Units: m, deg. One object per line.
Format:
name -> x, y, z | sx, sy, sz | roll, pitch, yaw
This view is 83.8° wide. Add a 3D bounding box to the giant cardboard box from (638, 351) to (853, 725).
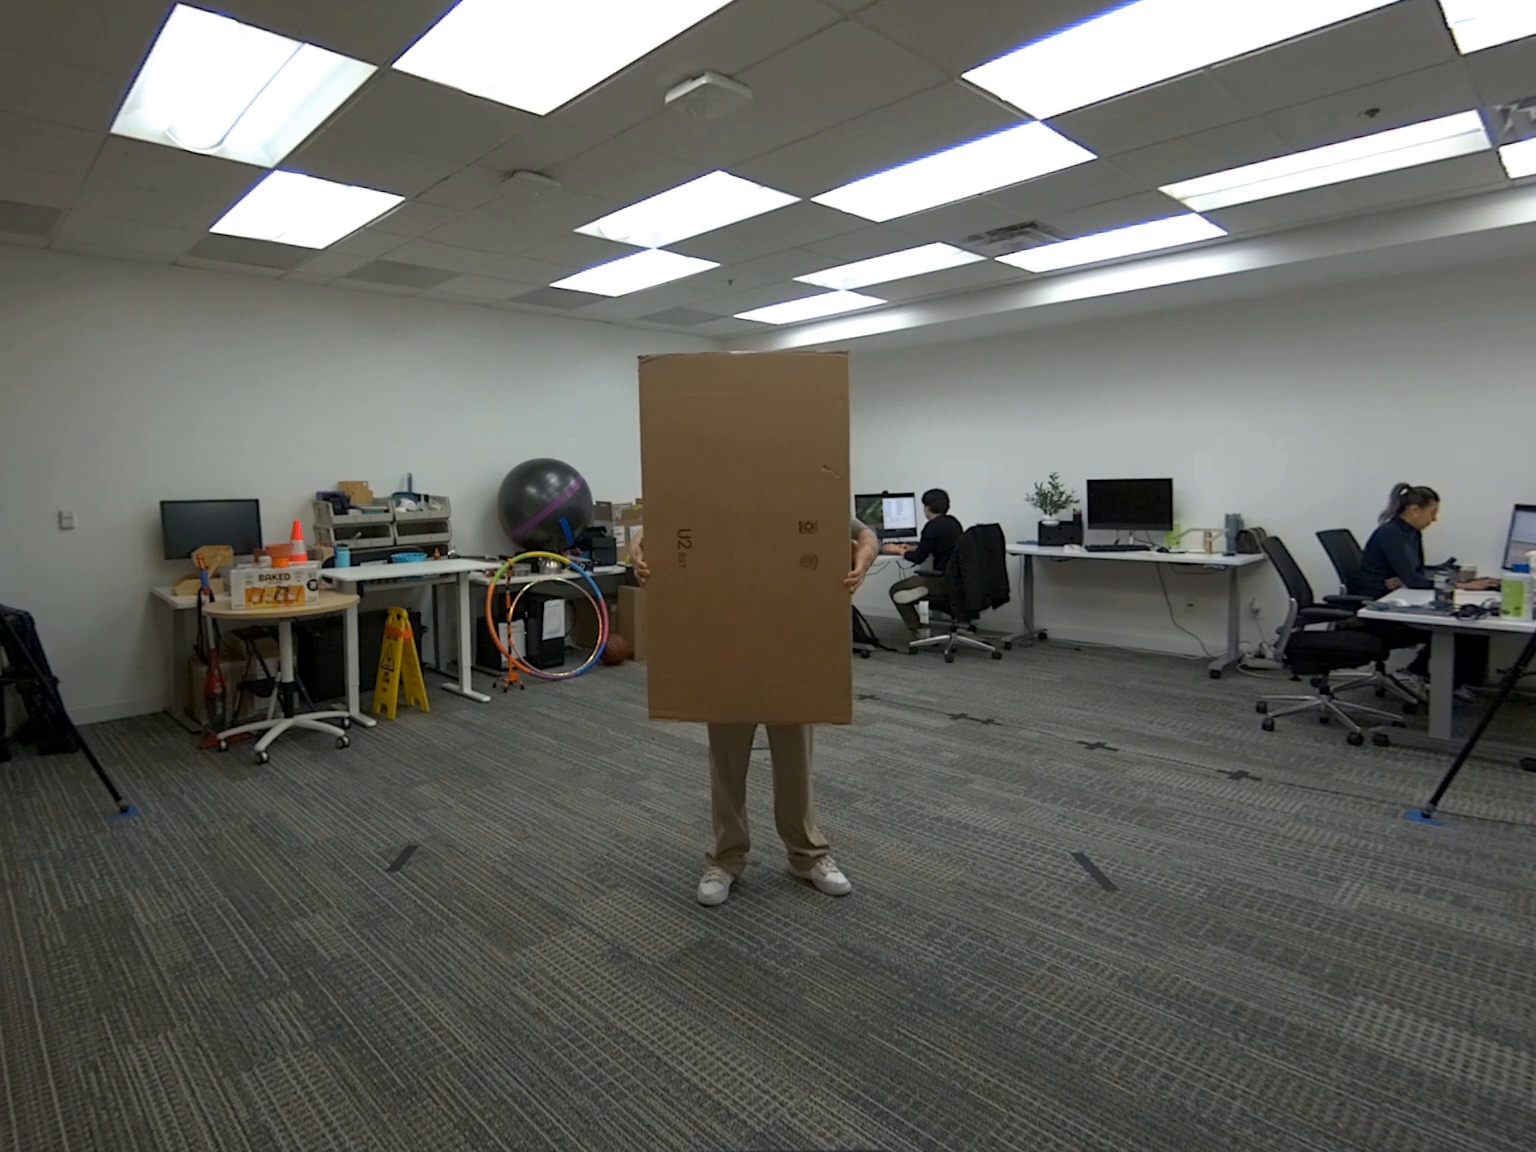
giant cardboard box -> -0.043, -0.131, 2.532 | 0.579, 1.022, 0.426 | -1, 4, 3
